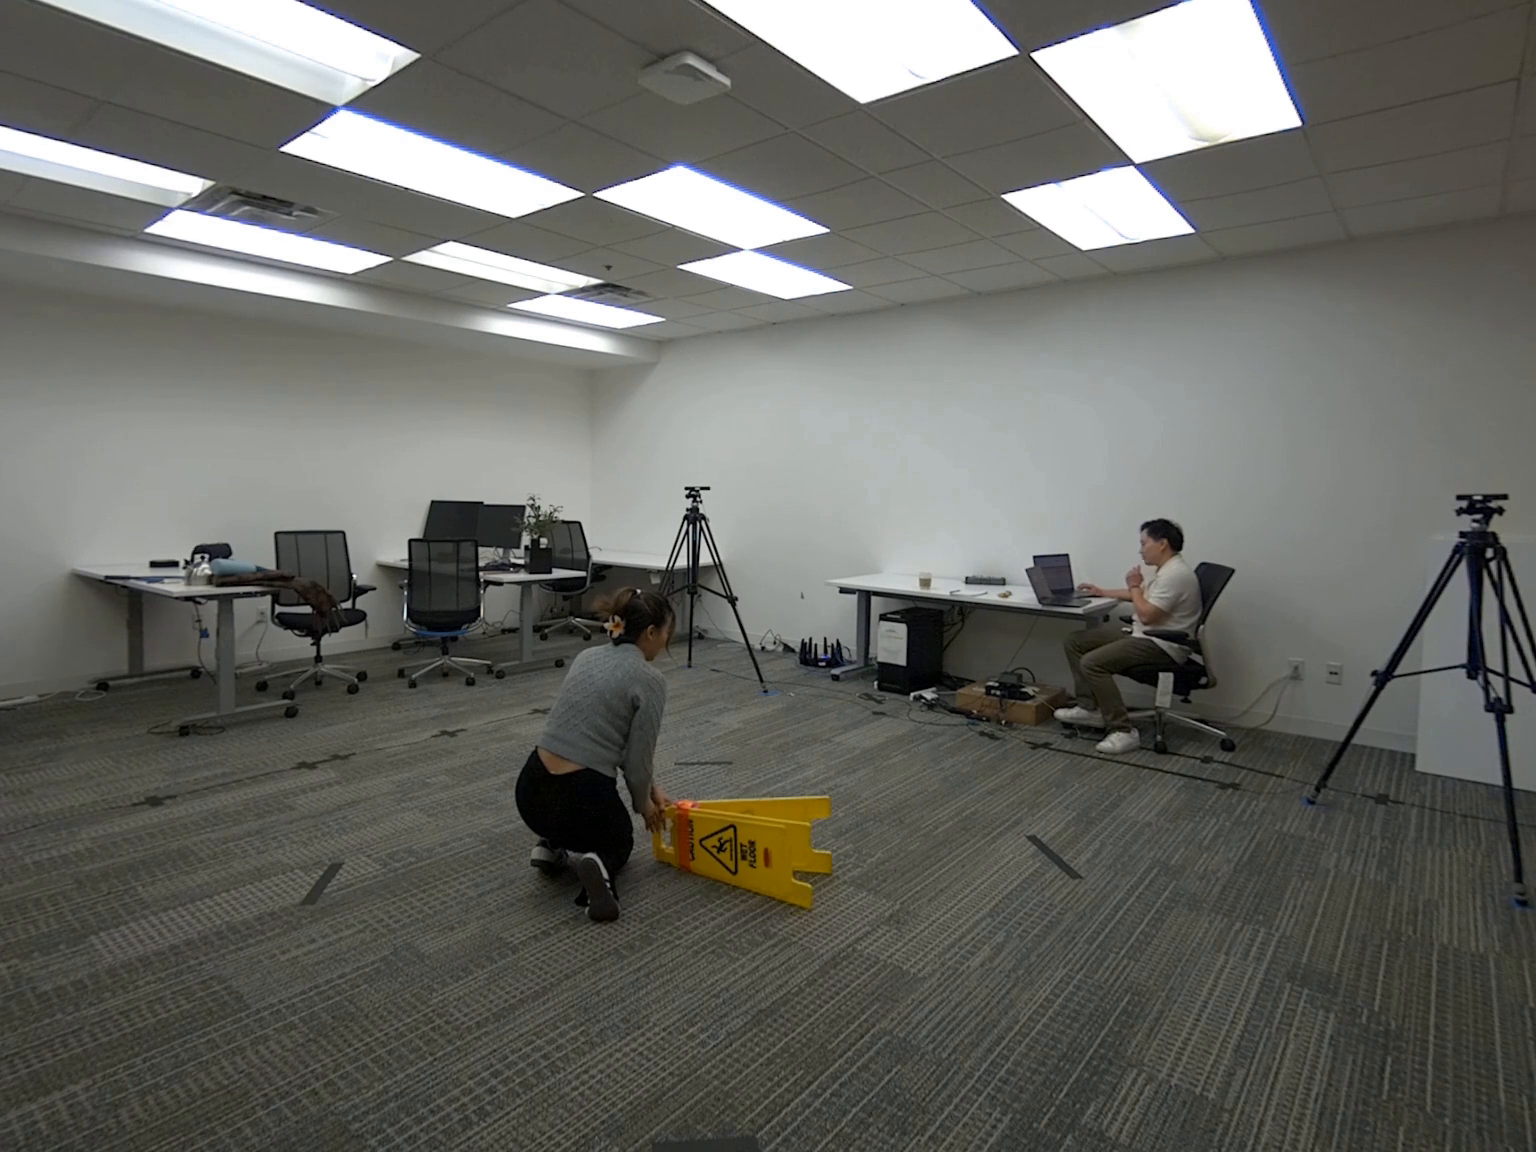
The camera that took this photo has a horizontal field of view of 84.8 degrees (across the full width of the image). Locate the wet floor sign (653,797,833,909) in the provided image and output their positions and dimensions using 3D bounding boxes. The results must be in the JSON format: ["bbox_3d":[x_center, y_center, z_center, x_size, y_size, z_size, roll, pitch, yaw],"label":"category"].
[{"bbox_3d":[-0.131,0.951,3.059,0.659,0.282,0.284,-1,2,20],"label":"wet floor sign"}]
